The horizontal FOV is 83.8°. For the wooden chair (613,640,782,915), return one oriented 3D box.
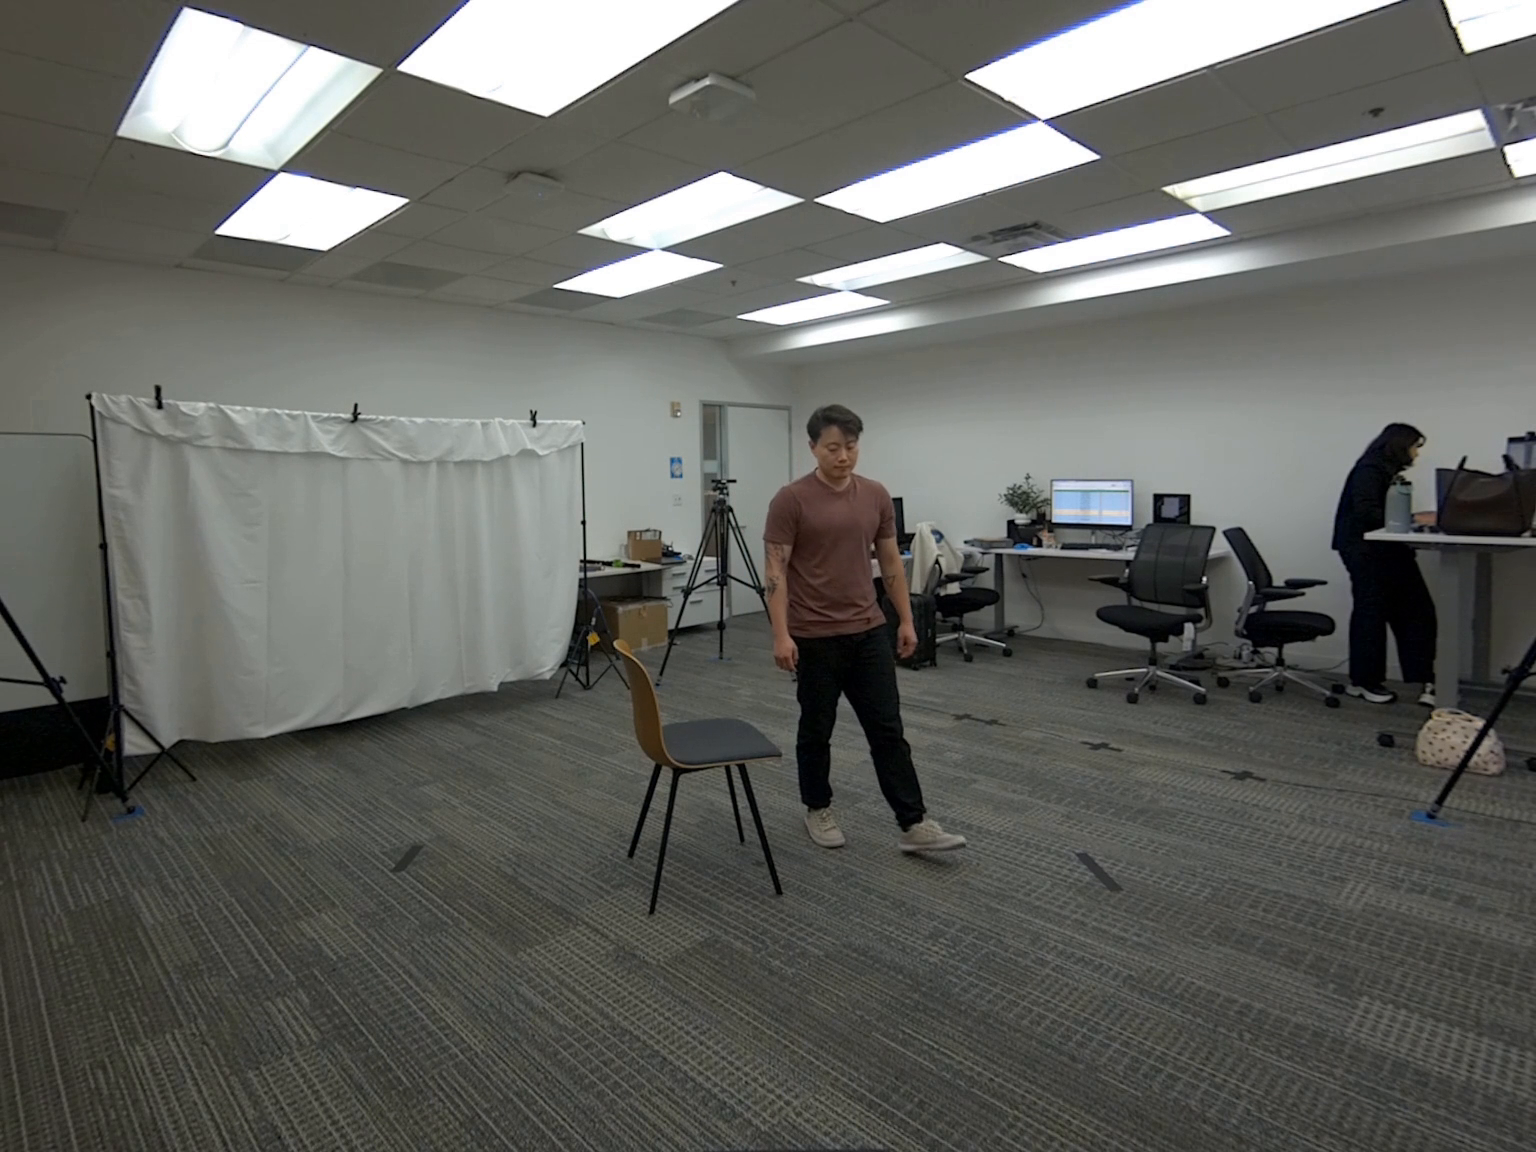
[{"bbox_3d":[-0.240,0.639,2.996,0.516,0.873,0.487,-6,5,-16],"label":"wooden chair"}]
